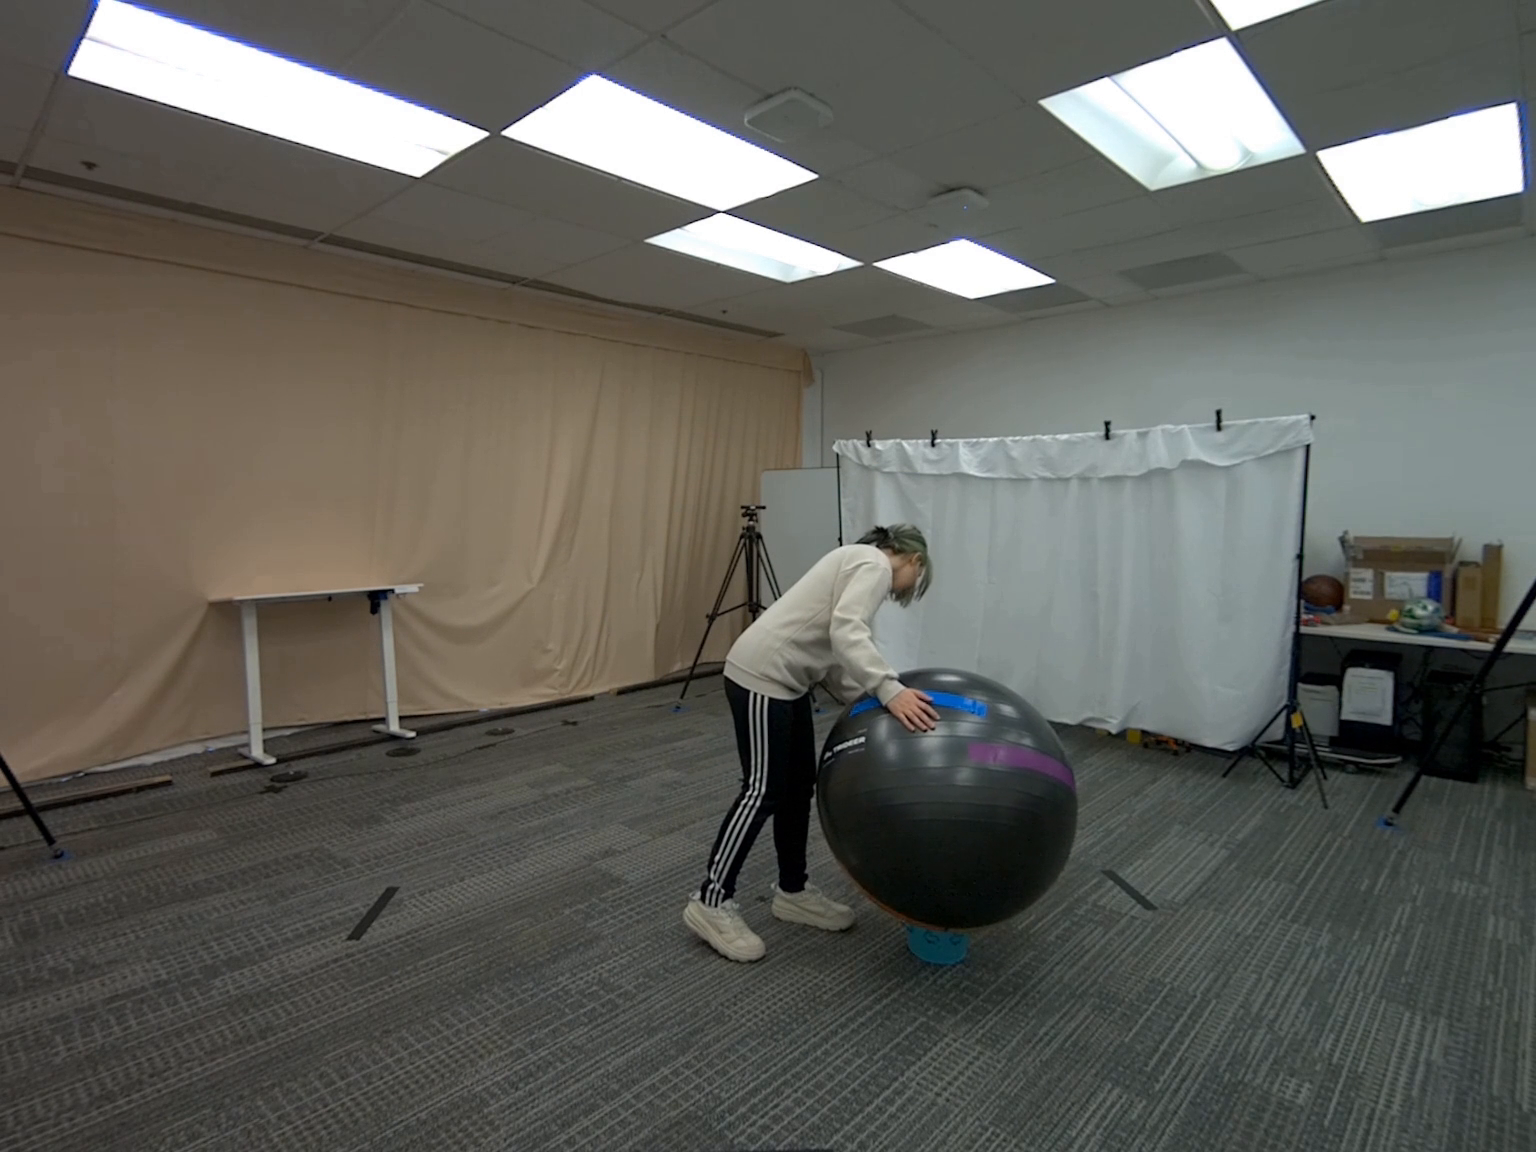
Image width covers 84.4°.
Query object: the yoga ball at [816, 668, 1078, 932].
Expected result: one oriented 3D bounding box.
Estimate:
[{"bbox_3d":[0.541,0.664,2.548,0.757,0.756,0.760,0,4,-2],"label":"yoga ball"}]
